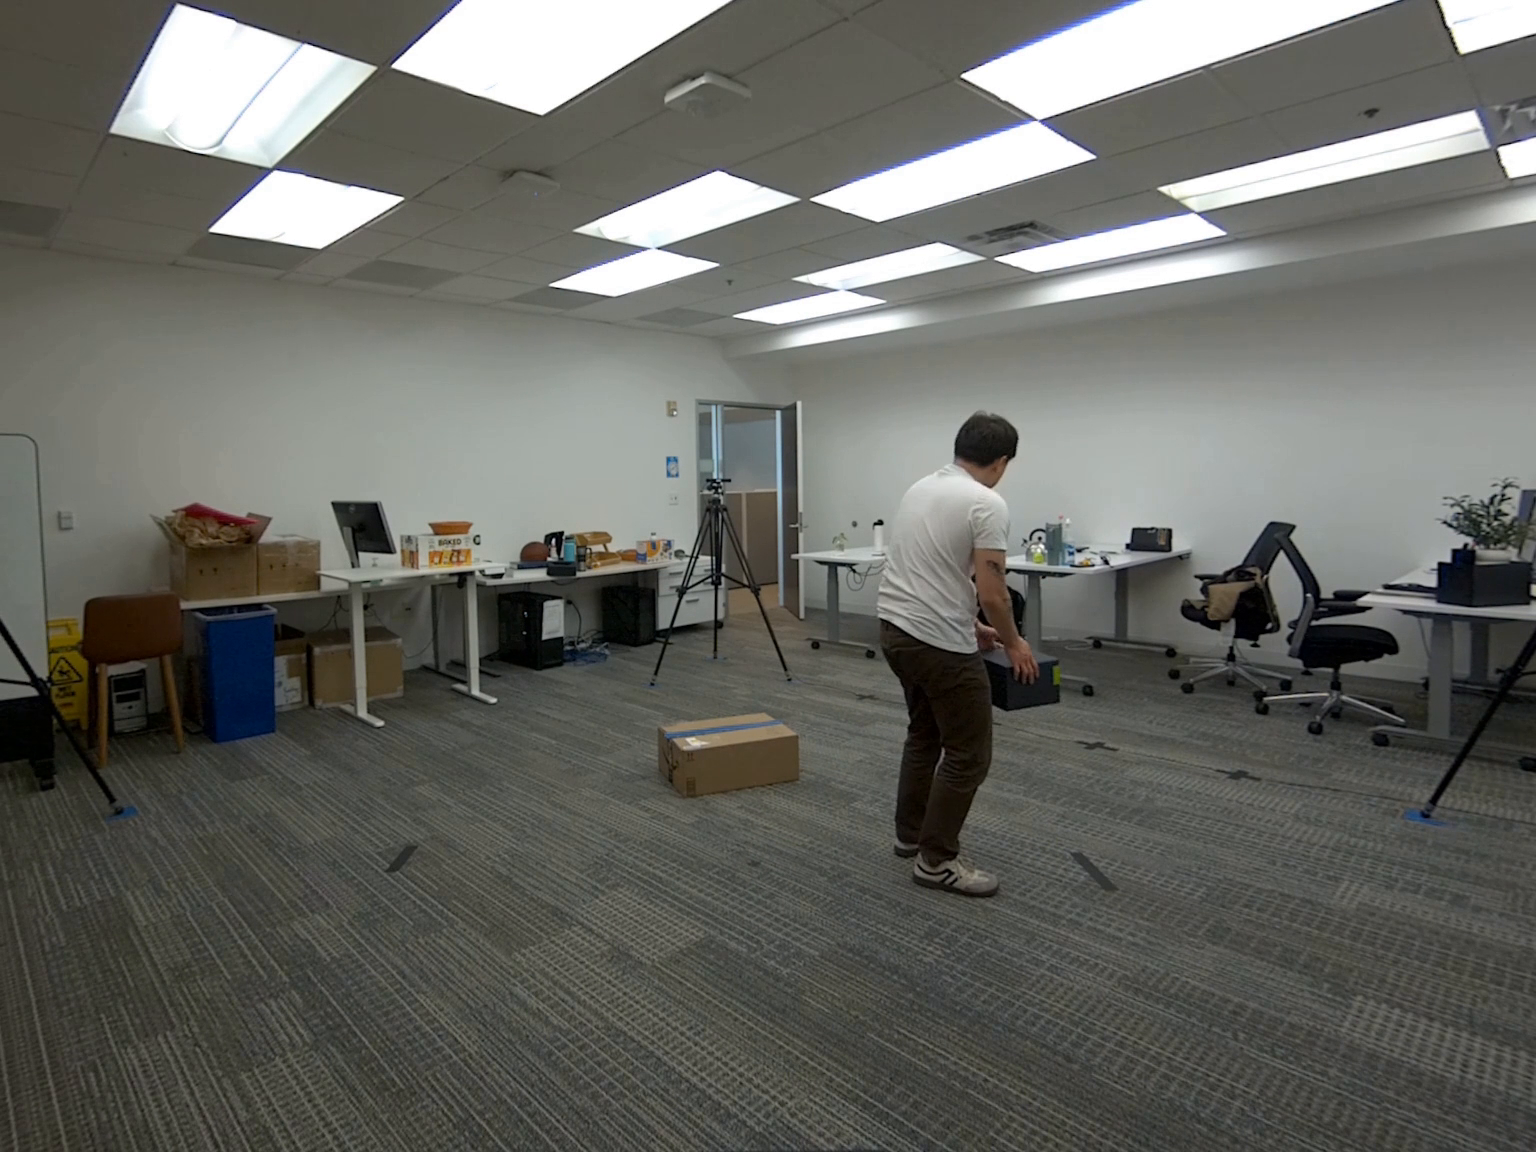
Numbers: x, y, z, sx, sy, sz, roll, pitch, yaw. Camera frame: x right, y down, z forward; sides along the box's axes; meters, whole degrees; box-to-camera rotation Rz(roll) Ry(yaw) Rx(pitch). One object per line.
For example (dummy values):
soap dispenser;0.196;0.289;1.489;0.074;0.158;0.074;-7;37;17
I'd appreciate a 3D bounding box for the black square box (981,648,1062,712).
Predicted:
black square box;0.862;0.358;3.008;0.213;0.155;0.233;-6;9;-20
